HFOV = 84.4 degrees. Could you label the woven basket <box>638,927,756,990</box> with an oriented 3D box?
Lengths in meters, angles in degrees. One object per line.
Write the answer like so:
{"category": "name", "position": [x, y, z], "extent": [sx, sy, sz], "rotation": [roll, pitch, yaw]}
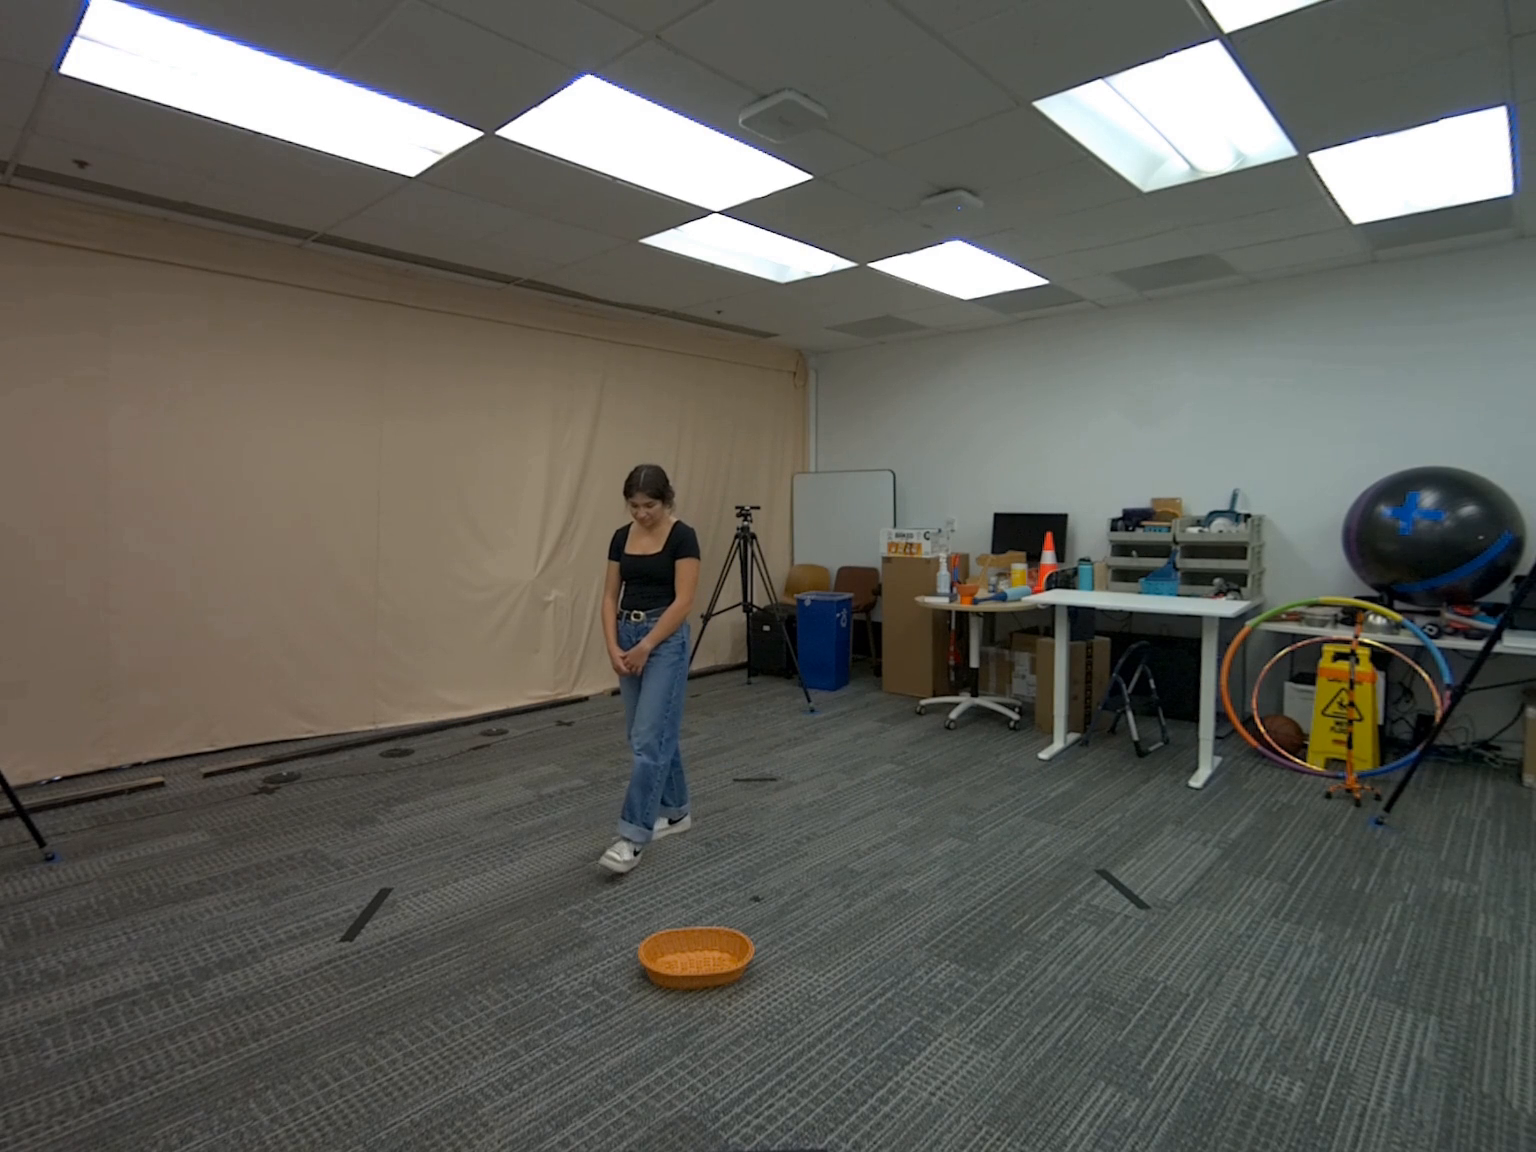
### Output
{"category": "woven basket", "position": [-0.211, 1.148, 2.511], "extent": [0.348, 0.073, 0.255], "rotation": [0, 6, -7]}
